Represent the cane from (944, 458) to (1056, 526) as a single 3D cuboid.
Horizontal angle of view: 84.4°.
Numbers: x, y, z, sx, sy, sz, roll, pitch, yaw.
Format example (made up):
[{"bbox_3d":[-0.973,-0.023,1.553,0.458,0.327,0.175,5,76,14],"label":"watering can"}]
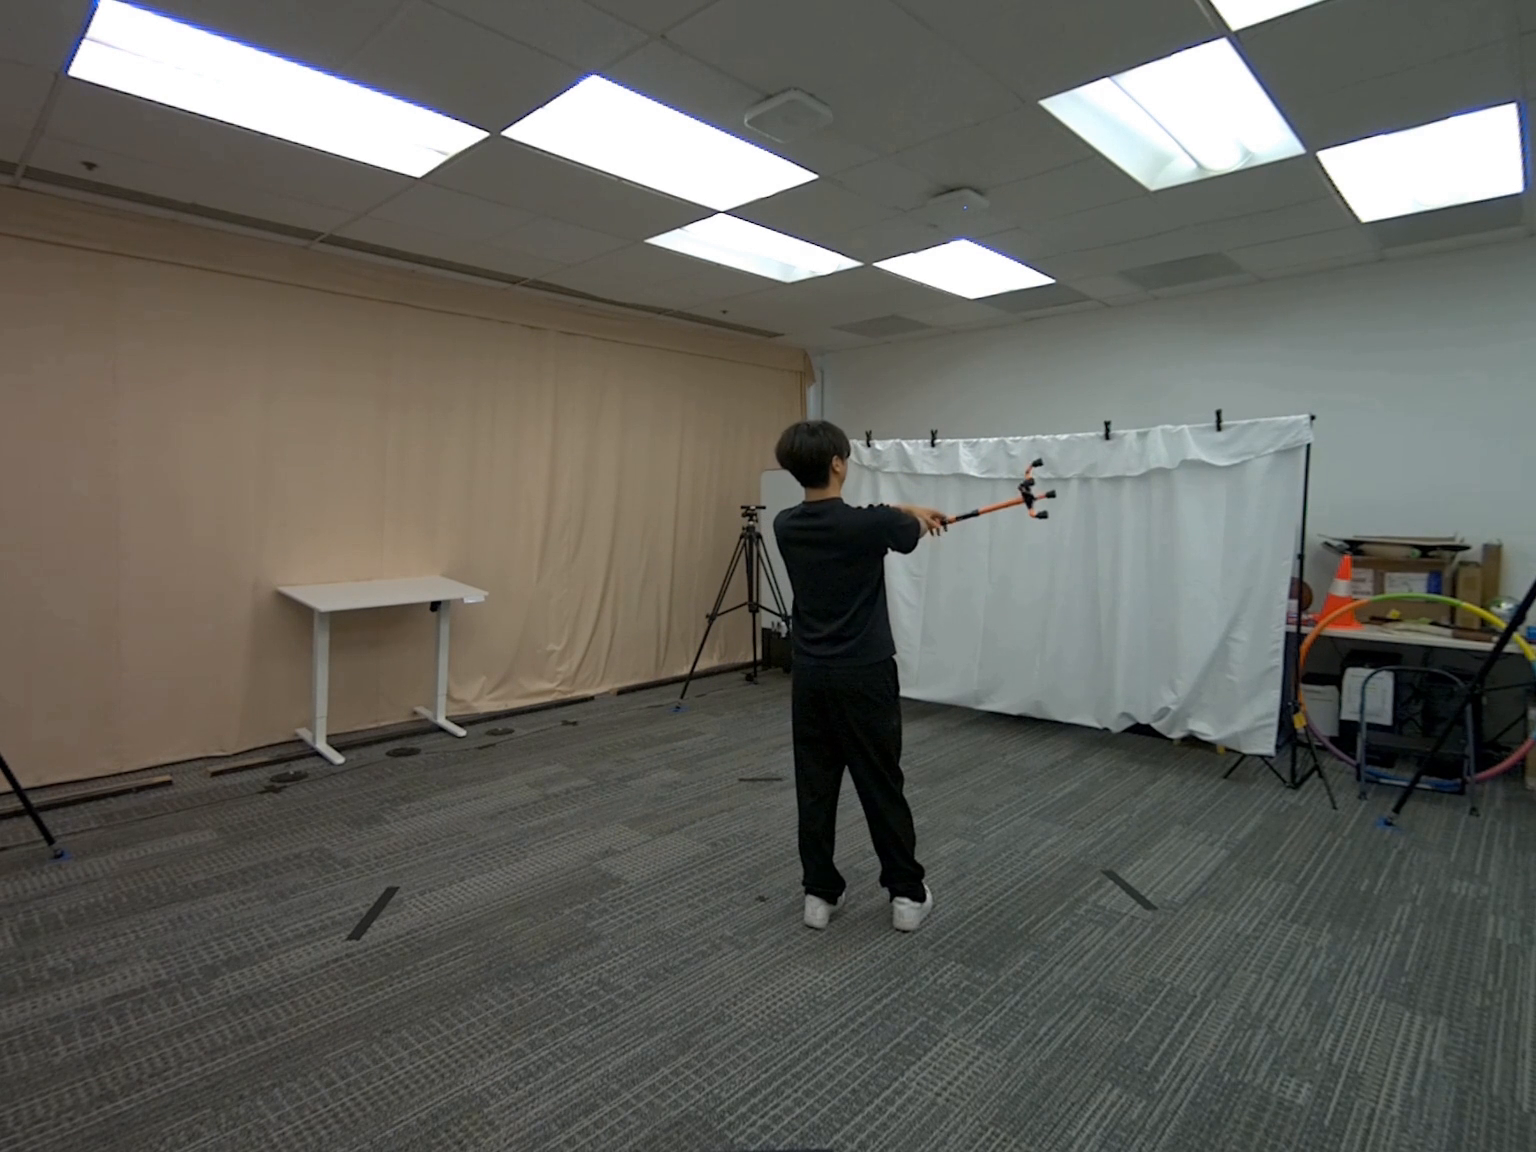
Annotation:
[{"bbox_3d":[0.574,-0.188,3.077,0.930,0.149,0.204,-16,17,36],"label":"cane"}]
